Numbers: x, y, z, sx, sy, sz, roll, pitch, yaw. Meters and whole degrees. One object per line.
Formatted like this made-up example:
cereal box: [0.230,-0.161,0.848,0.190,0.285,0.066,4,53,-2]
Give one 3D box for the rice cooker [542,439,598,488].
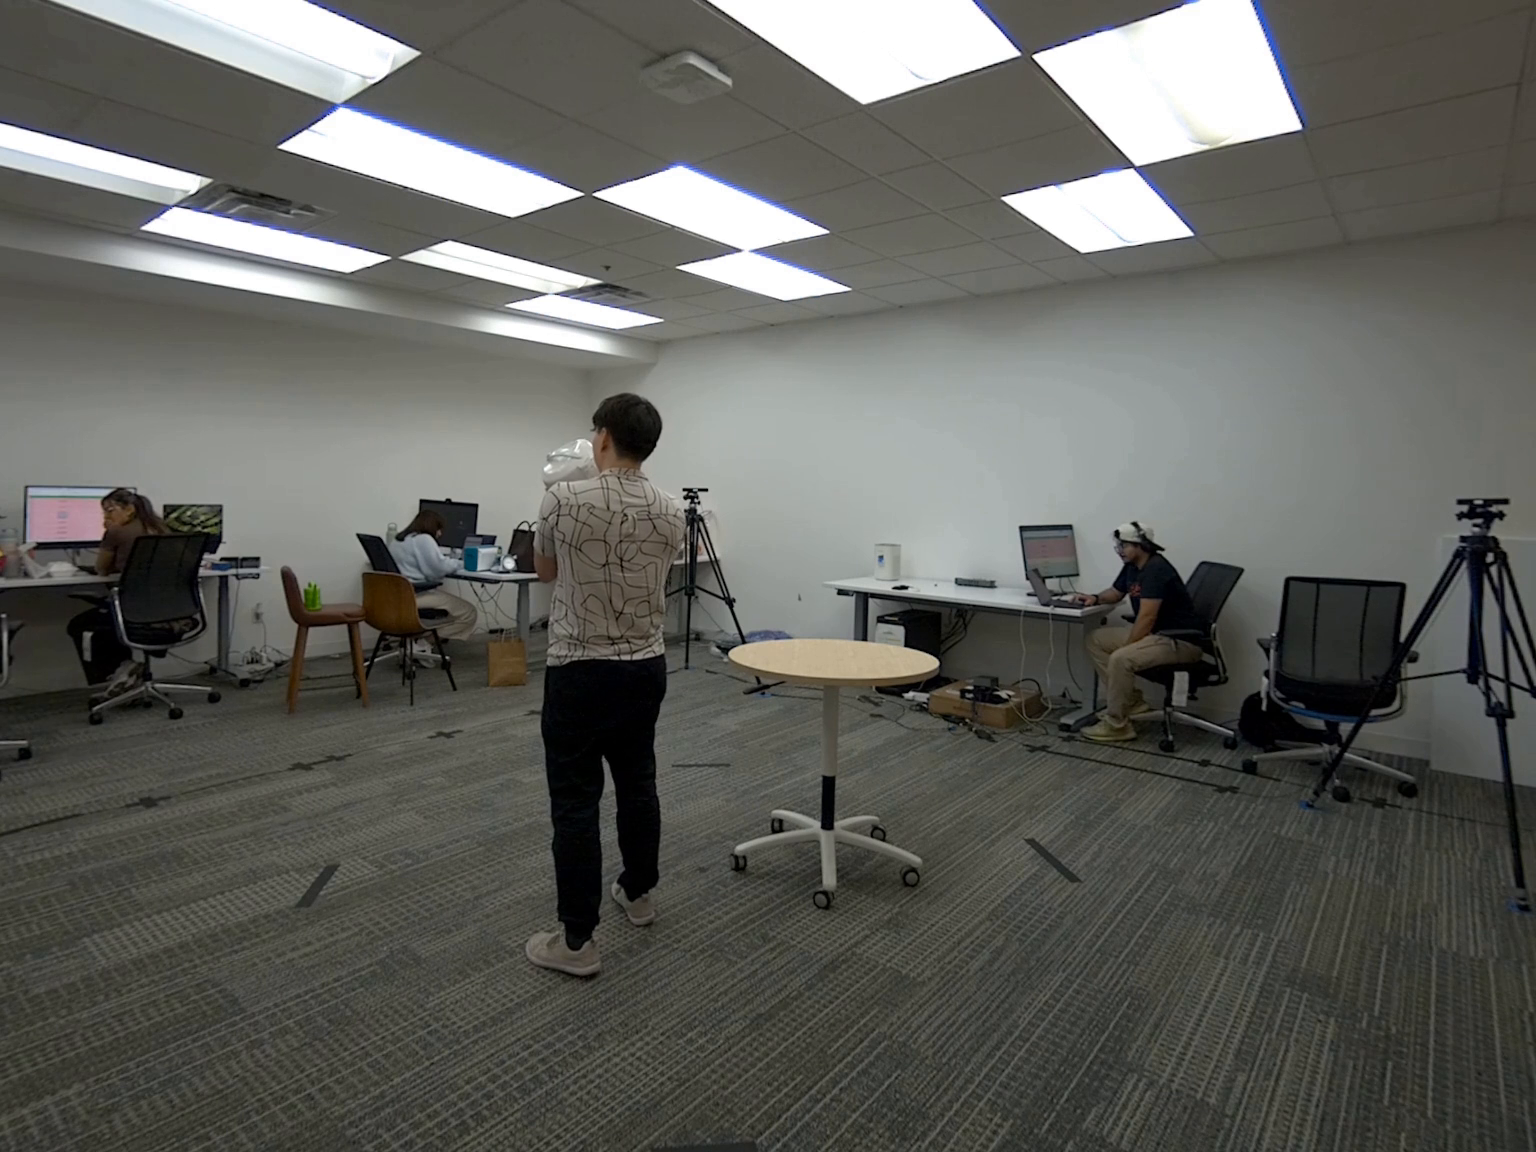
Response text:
rice cooker: [-0.657,-0.338,2.896,0.228,0.219,0.224,2,-40,43]
